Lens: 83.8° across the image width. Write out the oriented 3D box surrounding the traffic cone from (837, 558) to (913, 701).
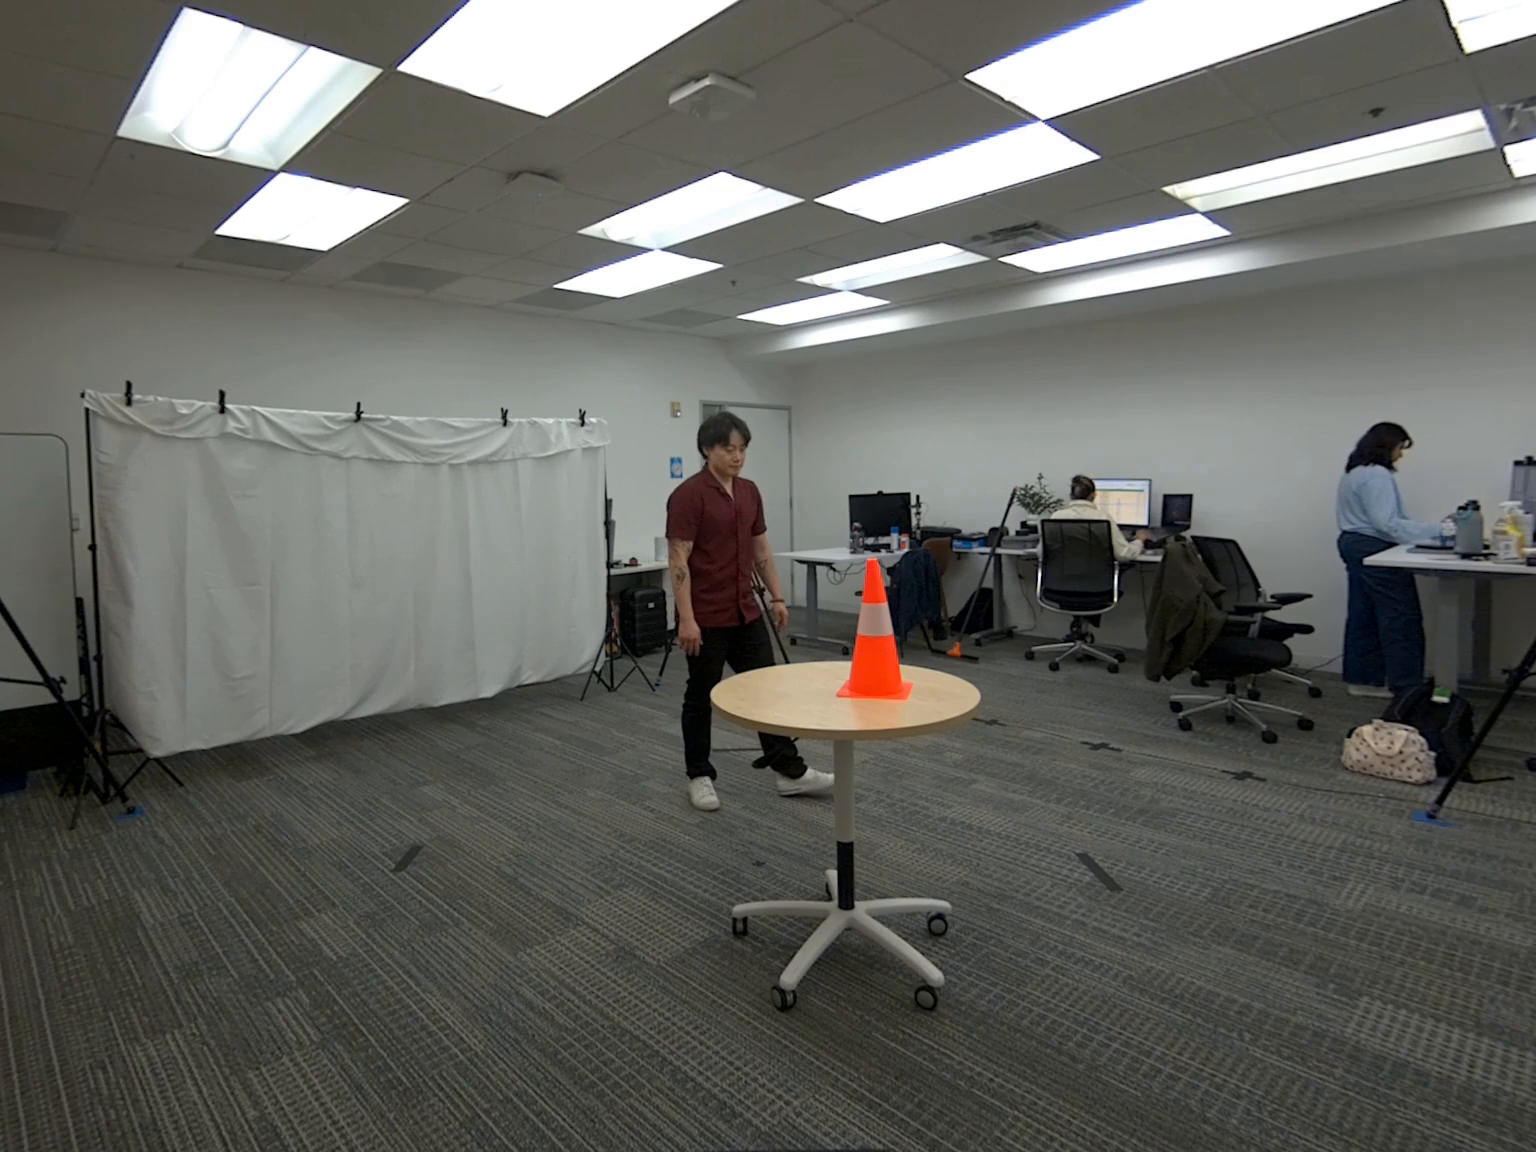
[{"bbox_3d":[0.312,0.145,2.445,0.205,0.382,0.204,-1,5,11],"label":"traffic cone"}]
